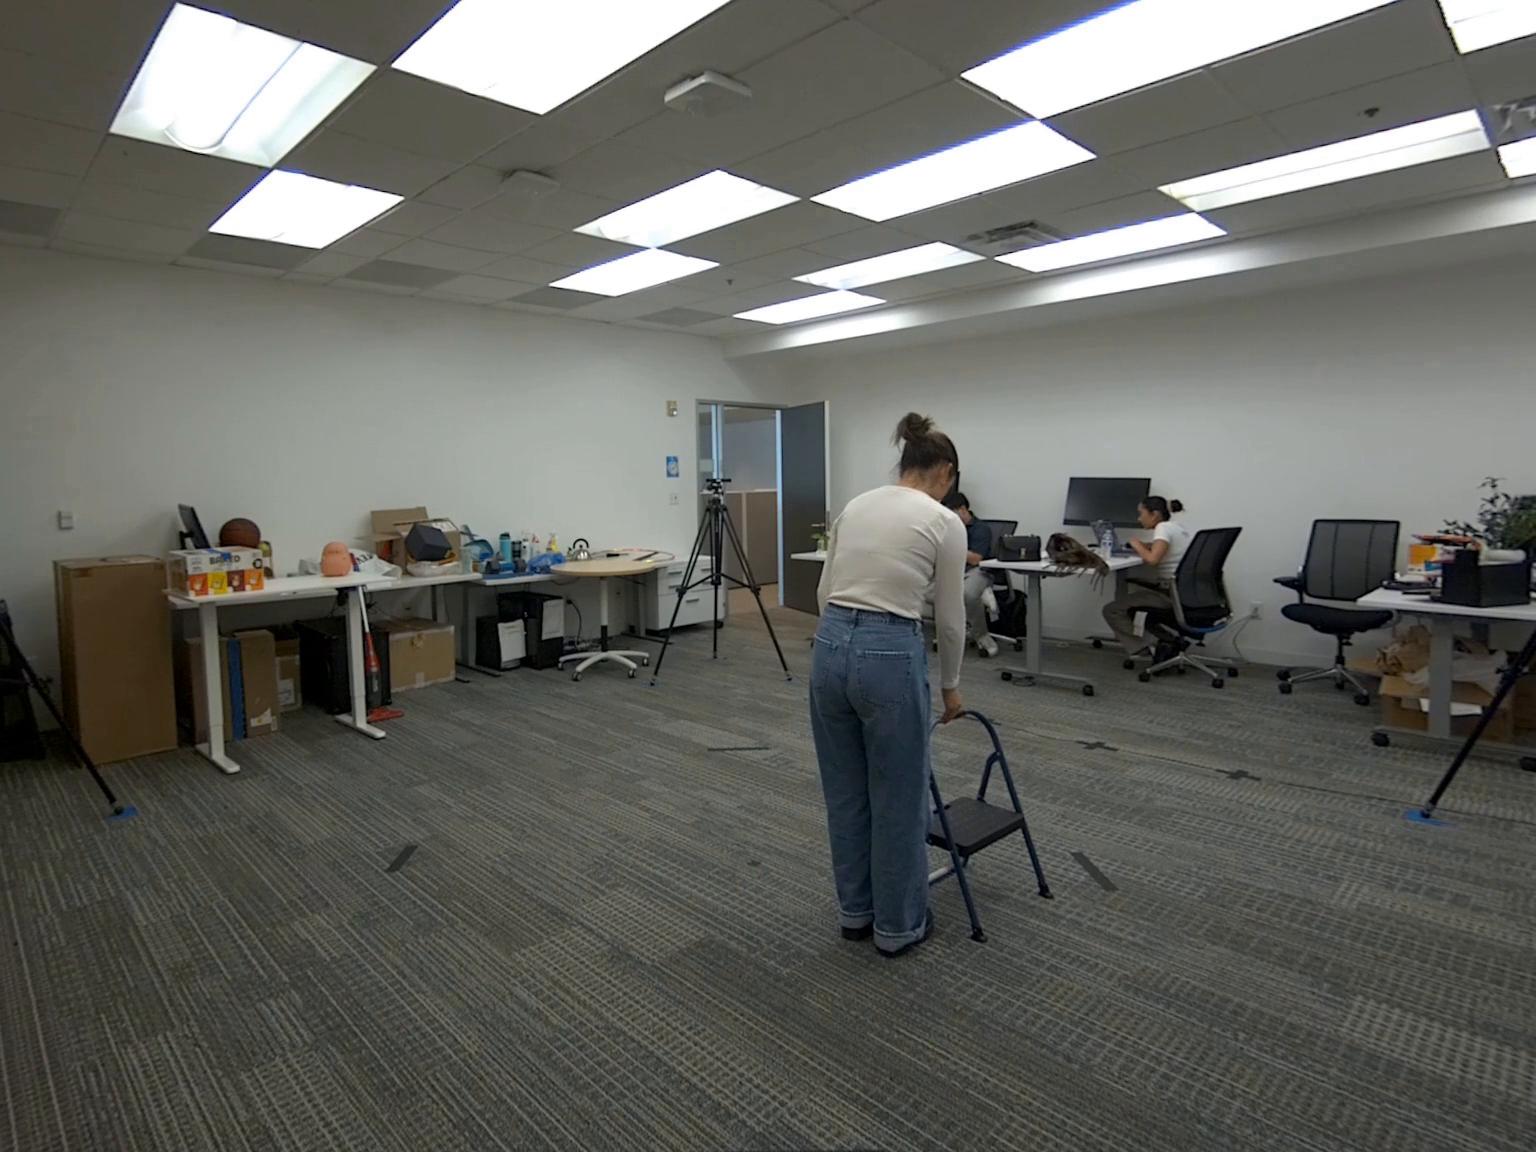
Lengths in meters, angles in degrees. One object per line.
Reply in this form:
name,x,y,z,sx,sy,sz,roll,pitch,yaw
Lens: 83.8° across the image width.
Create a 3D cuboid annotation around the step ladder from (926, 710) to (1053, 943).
step ladder,0.675,0.763,2.803,0.419,0.604,0.360,-5,6,-43
